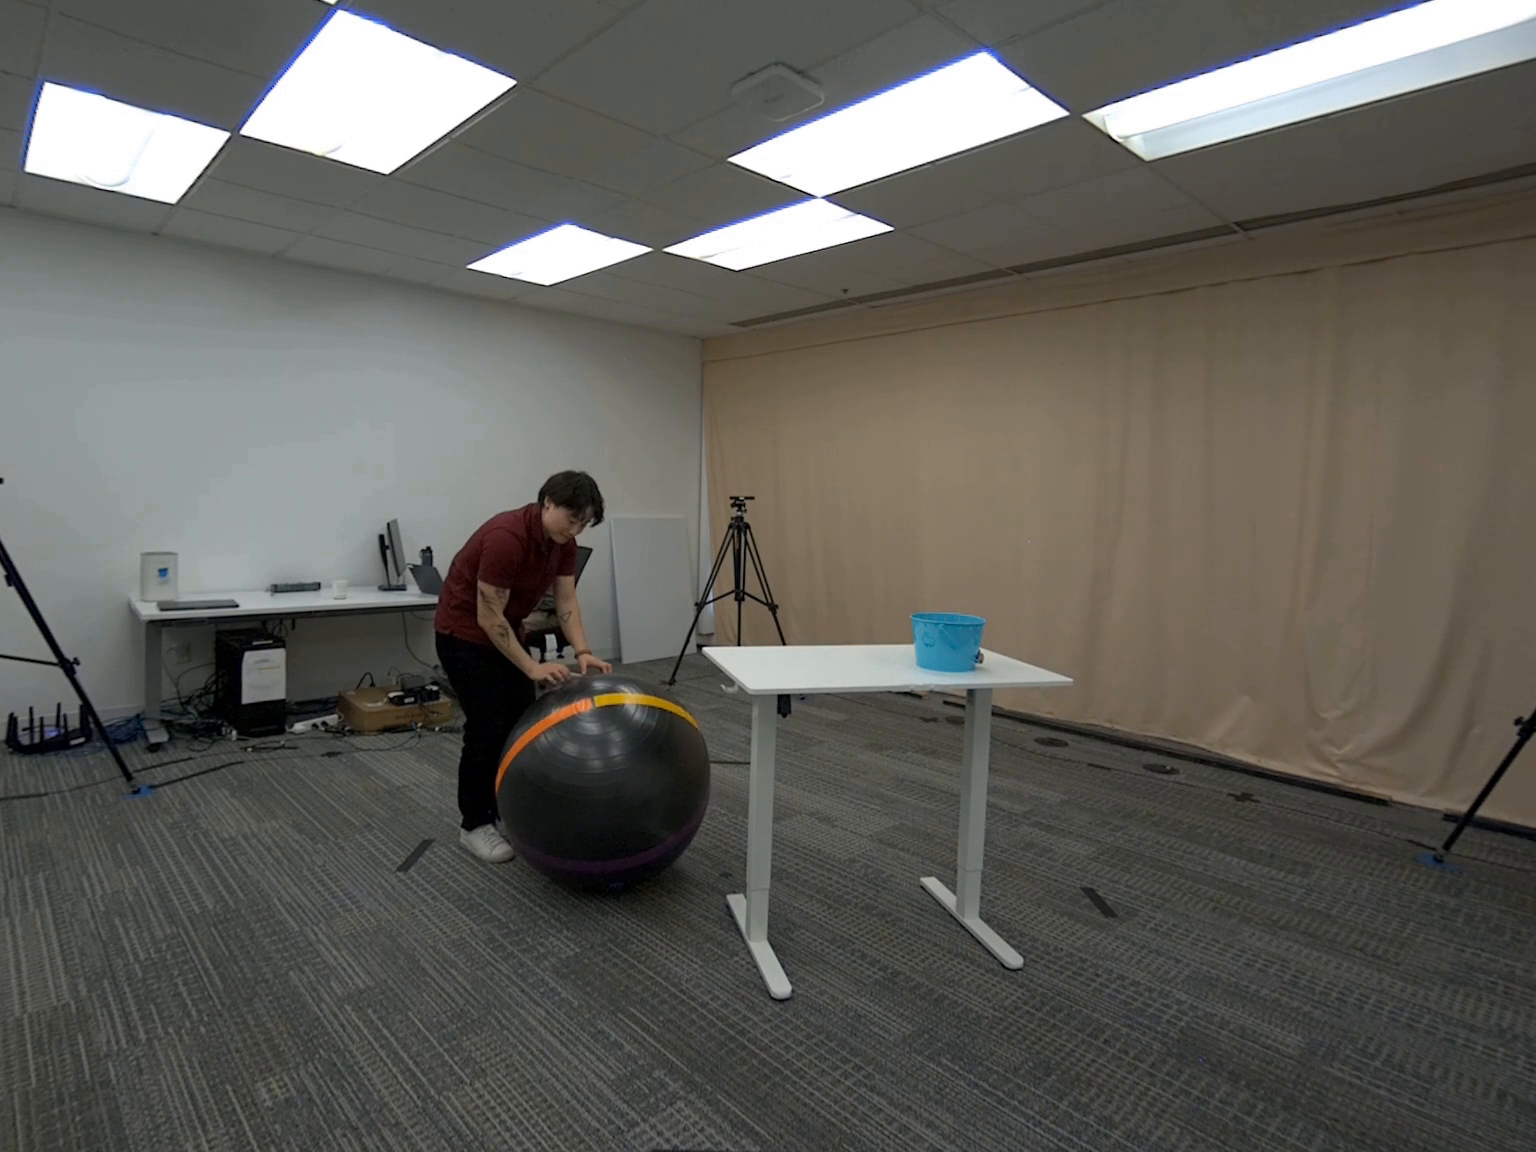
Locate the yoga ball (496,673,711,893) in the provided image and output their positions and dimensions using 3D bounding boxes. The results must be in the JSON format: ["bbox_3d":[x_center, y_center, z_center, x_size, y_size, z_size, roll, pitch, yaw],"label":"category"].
[{"bbox_3d":[-0.594,0.737,3.030,0.757,0.756,0.760,1,4,-1],"label":"yoga ball"}]
